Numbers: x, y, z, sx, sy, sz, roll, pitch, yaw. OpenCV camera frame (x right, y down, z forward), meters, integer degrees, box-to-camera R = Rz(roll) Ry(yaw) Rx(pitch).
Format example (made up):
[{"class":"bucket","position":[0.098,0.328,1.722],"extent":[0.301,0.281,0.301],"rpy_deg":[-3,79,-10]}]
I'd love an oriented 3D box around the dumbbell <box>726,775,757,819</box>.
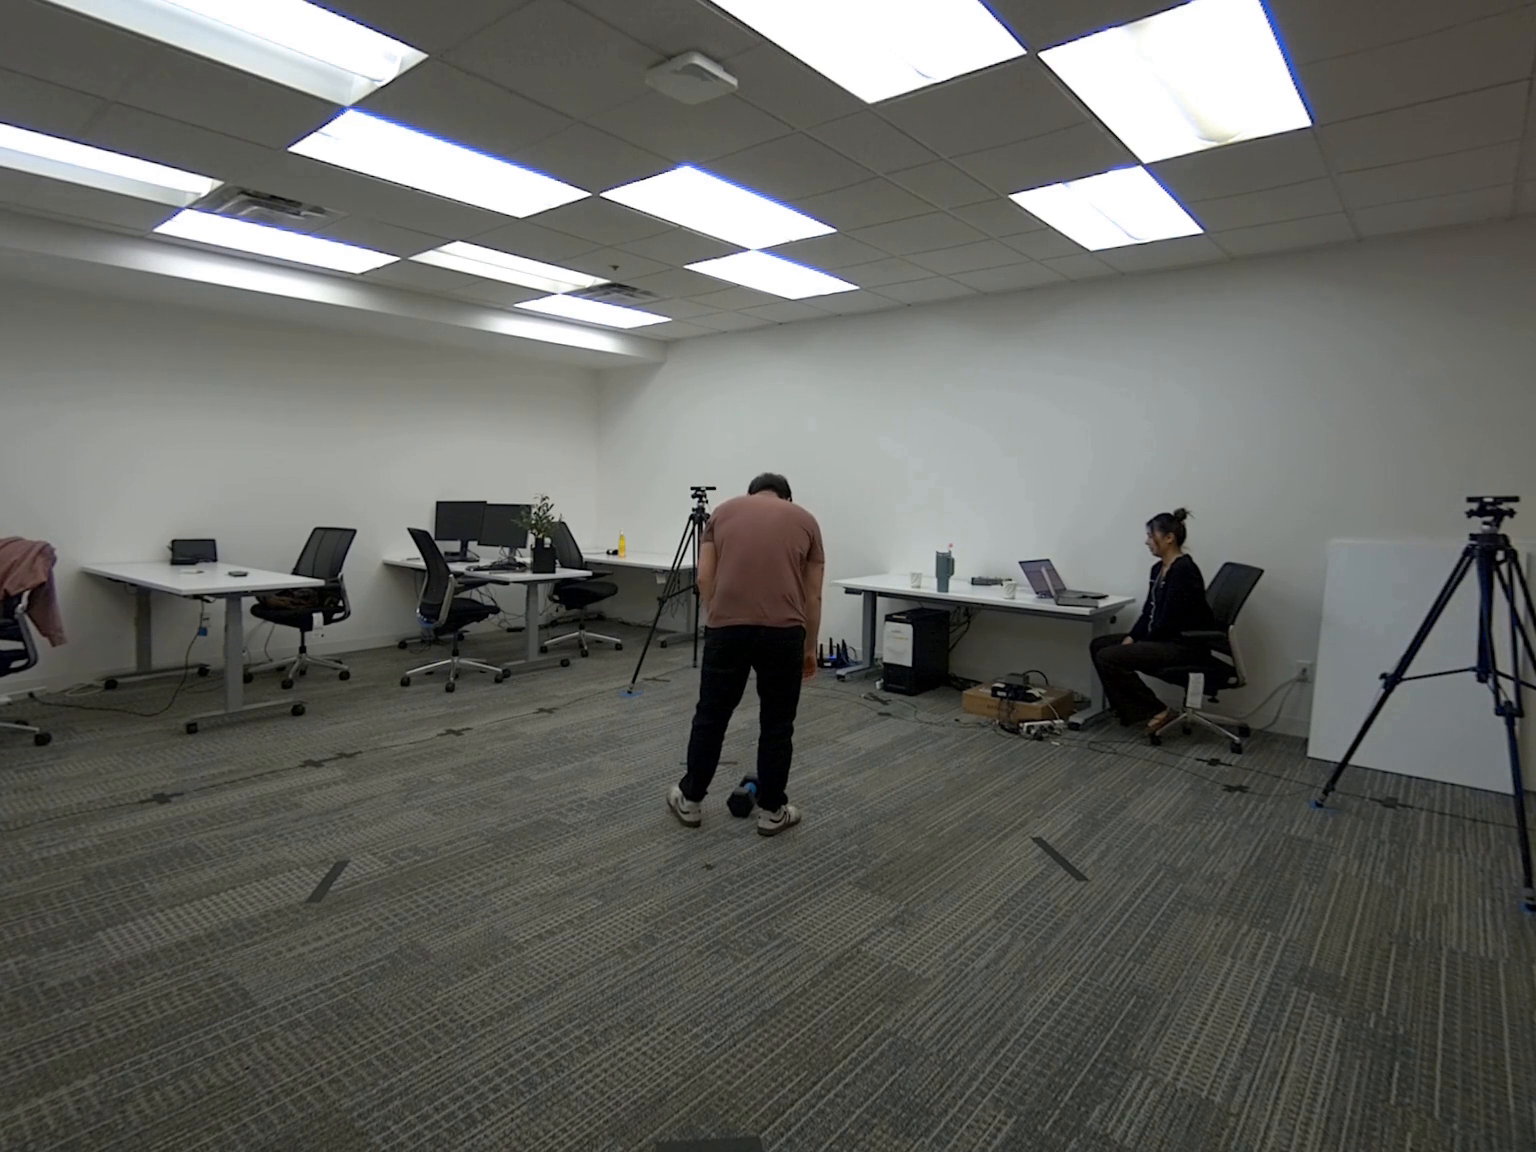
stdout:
[{"class":"dumbbell","position":[-0.103,0.953,3.731],"extent":[0.110,0.122,0.291],"rpy_deg":[32,11,7]}]
